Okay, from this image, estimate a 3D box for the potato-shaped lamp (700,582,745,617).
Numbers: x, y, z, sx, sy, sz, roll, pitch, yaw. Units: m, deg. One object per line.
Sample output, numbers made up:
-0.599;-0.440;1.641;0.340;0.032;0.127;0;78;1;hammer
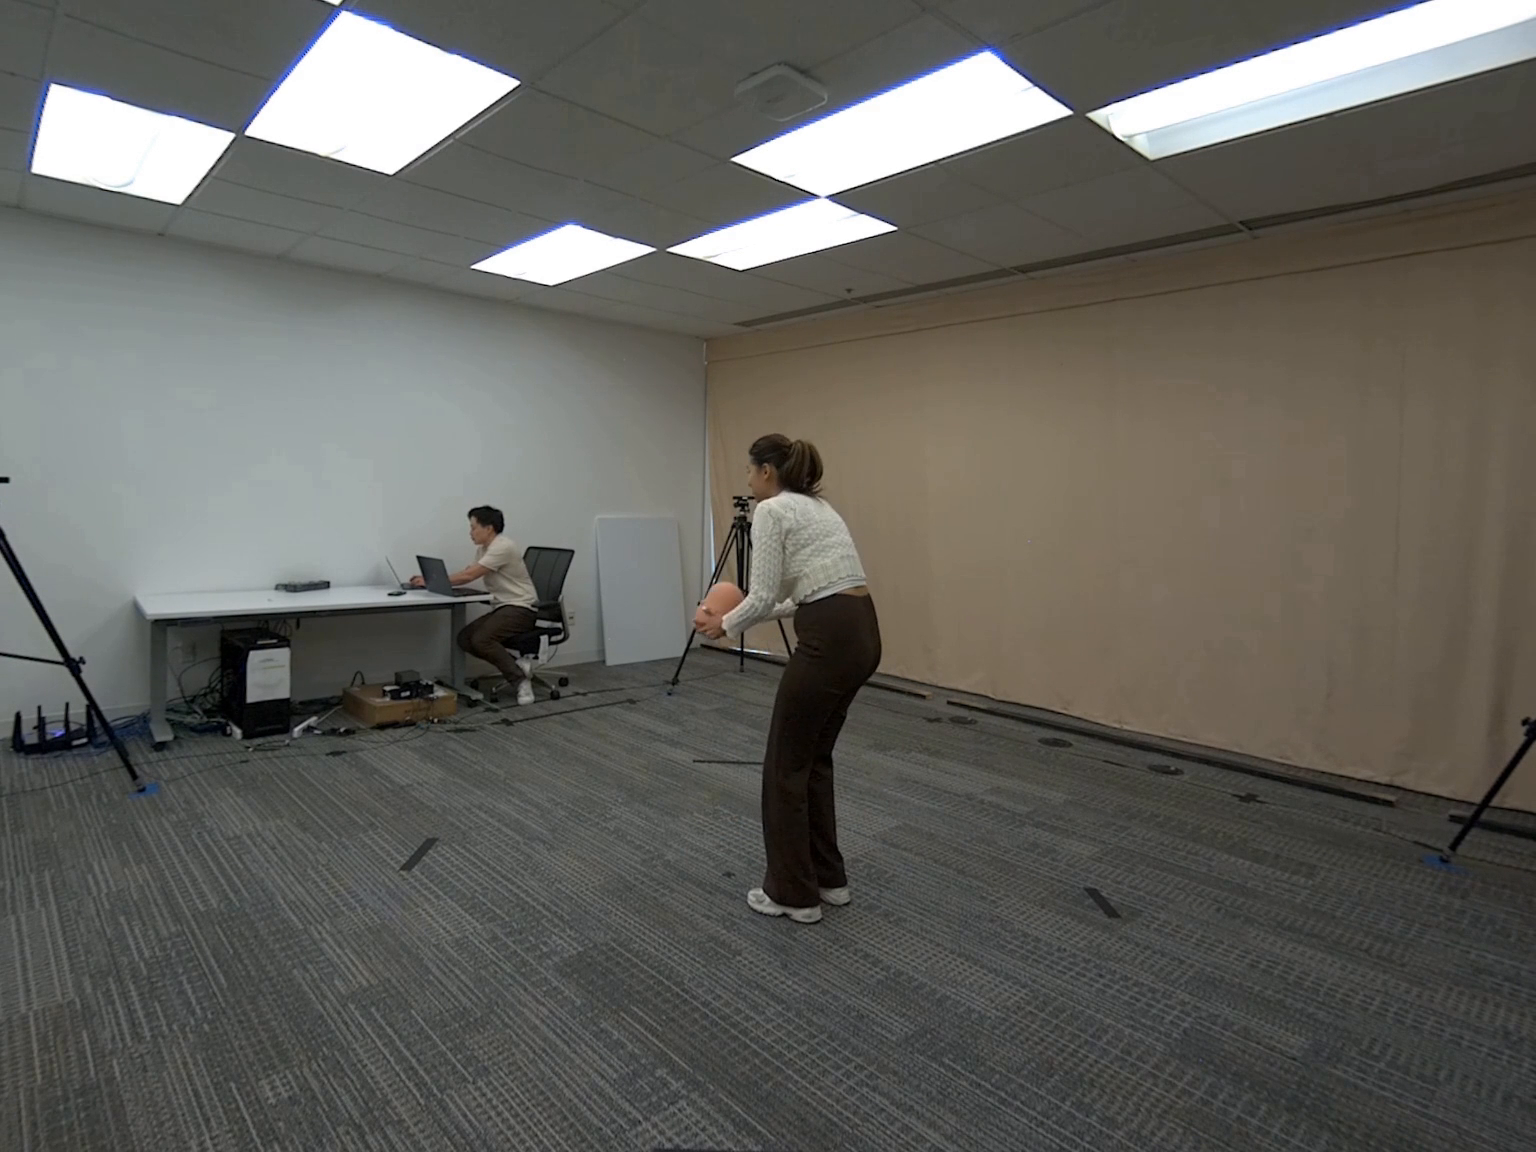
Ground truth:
-0.174;0.128;3.086;0.176;0.198;0.160;11;1;33;potato-shaped lamp
